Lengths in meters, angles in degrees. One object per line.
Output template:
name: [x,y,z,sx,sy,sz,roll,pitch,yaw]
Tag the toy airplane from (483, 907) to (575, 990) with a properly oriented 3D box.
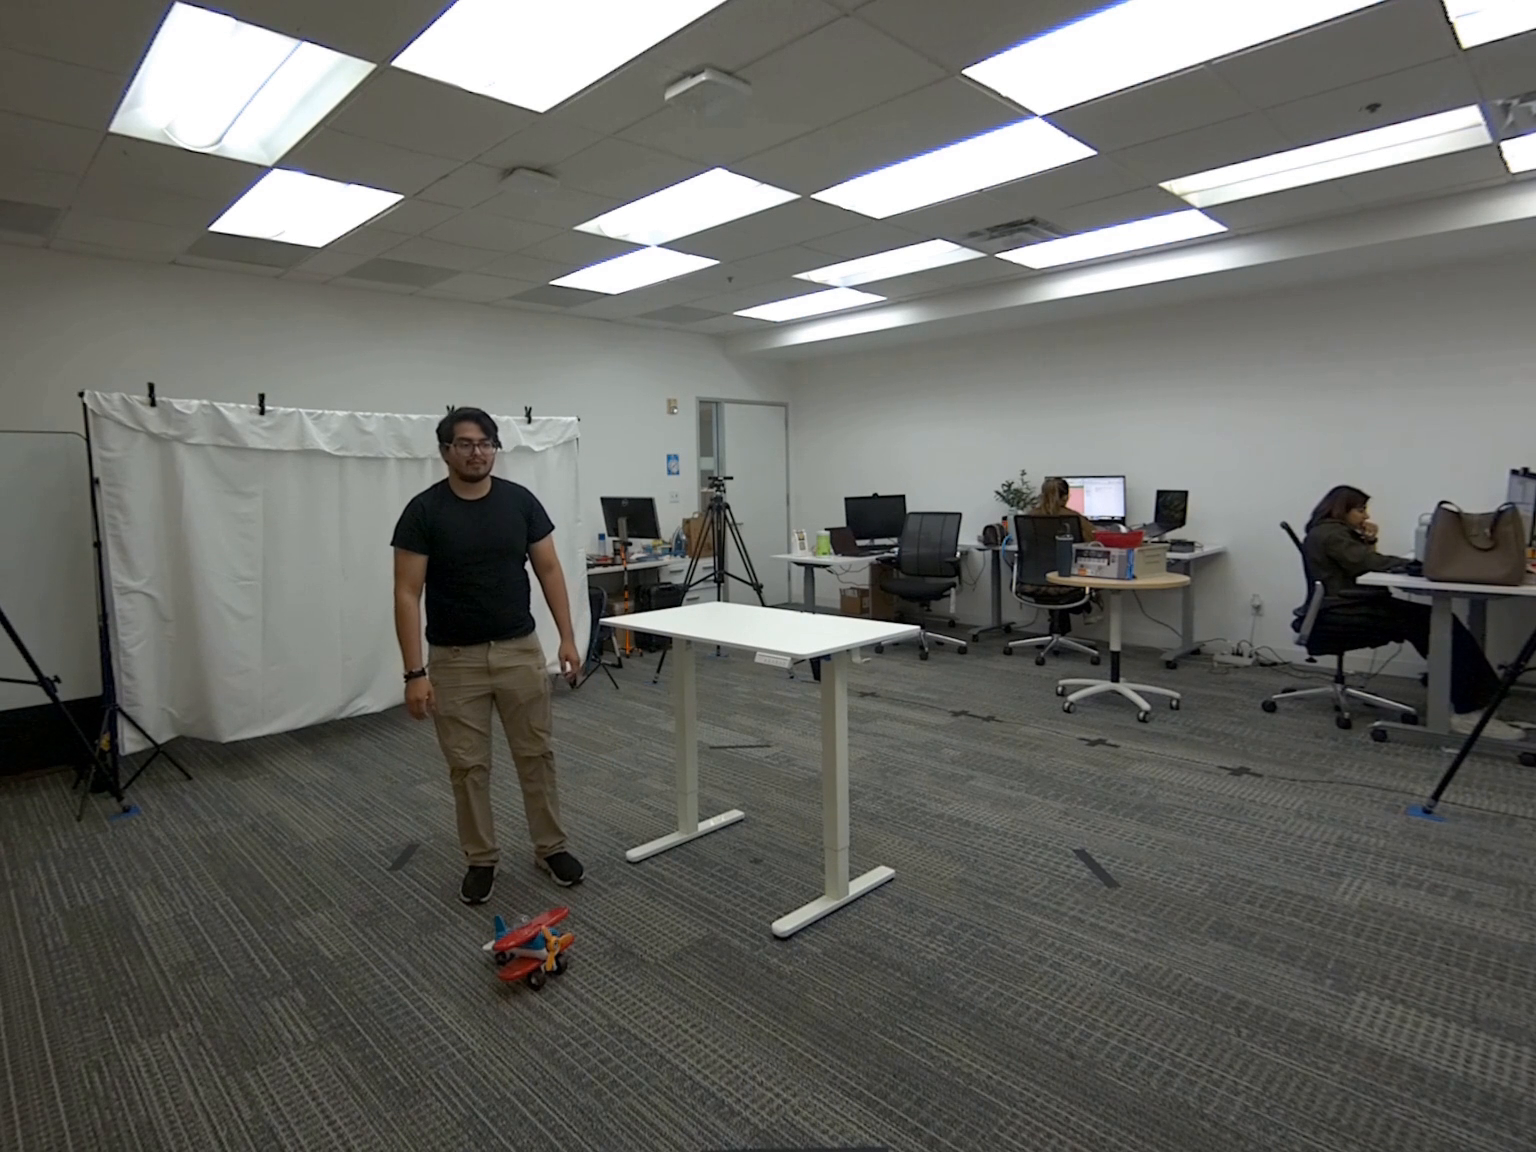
toy airplane: [-0.697,1.060,2.421,0.261,0.155,0.250,1,7,7]
